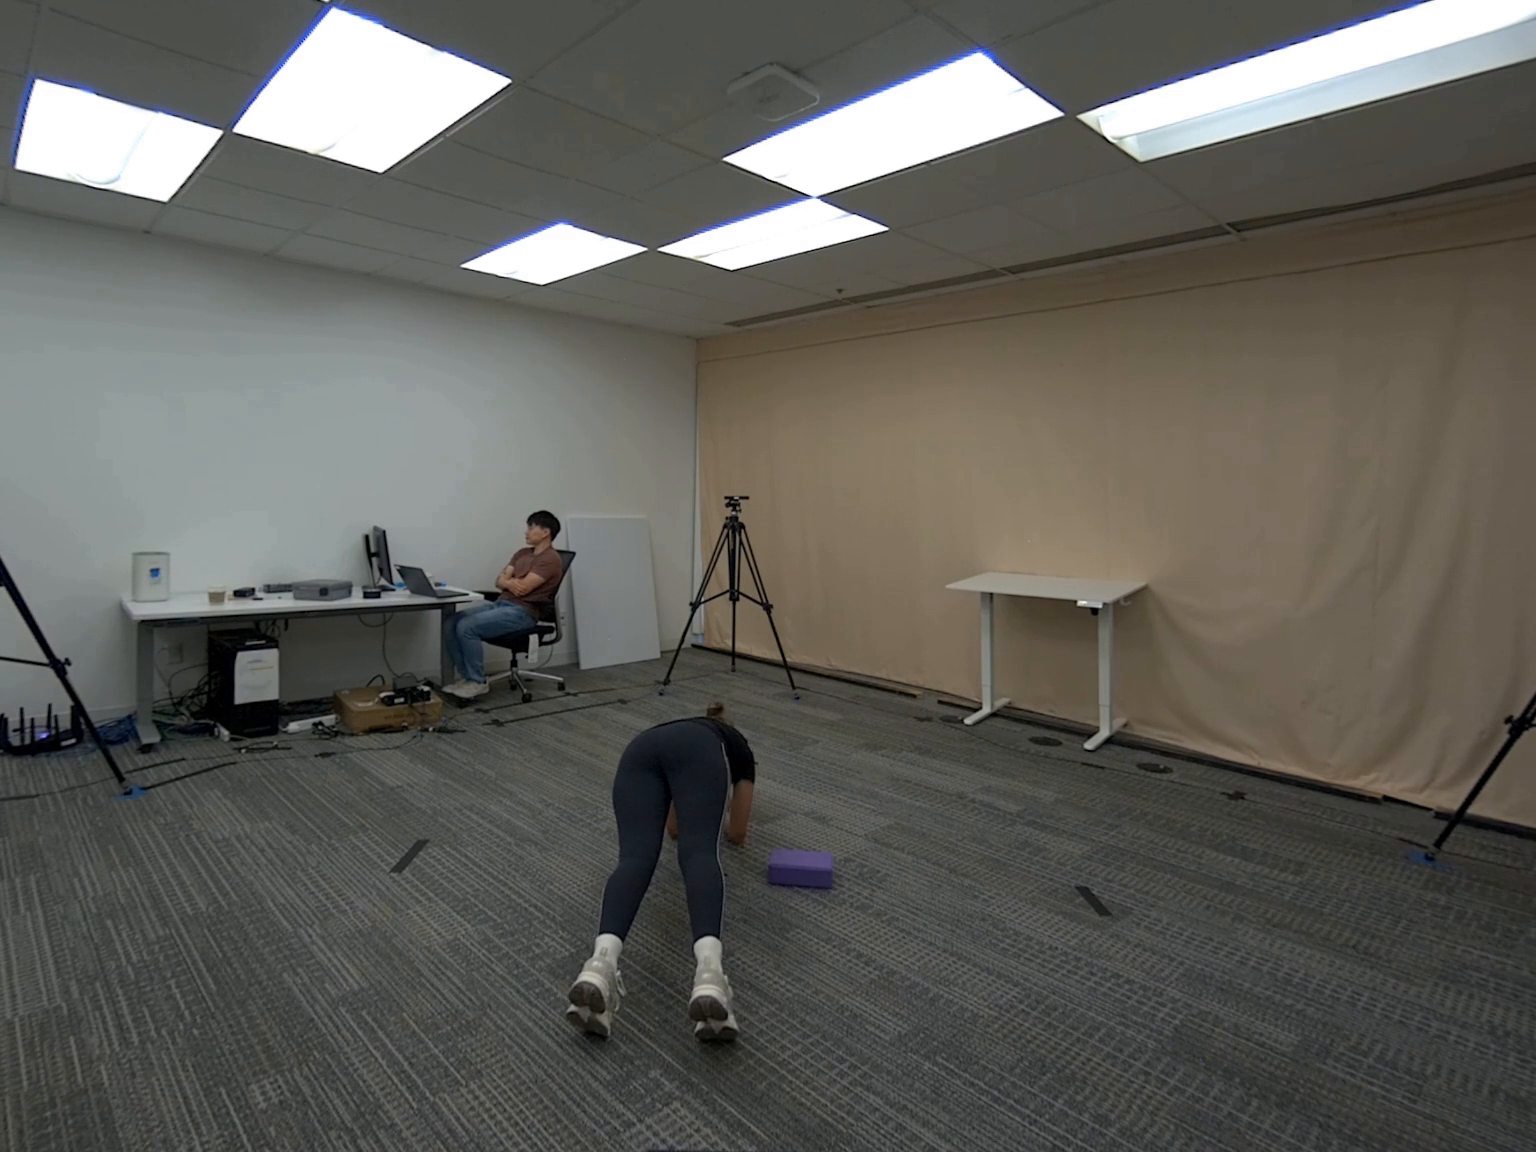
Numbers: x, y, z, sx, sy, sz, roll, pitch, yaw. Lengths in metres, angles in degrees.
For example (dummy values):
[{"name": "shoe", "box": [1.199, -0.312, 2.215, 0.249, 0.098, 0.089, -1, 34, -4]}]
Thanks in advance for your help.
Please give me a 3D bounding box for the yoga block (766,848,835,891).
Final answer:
[{"name": "yoga block", "box": [0.114, 1.068, 3.078, 0.231, 0.076, 0.148, 0, 5, 8]}]
